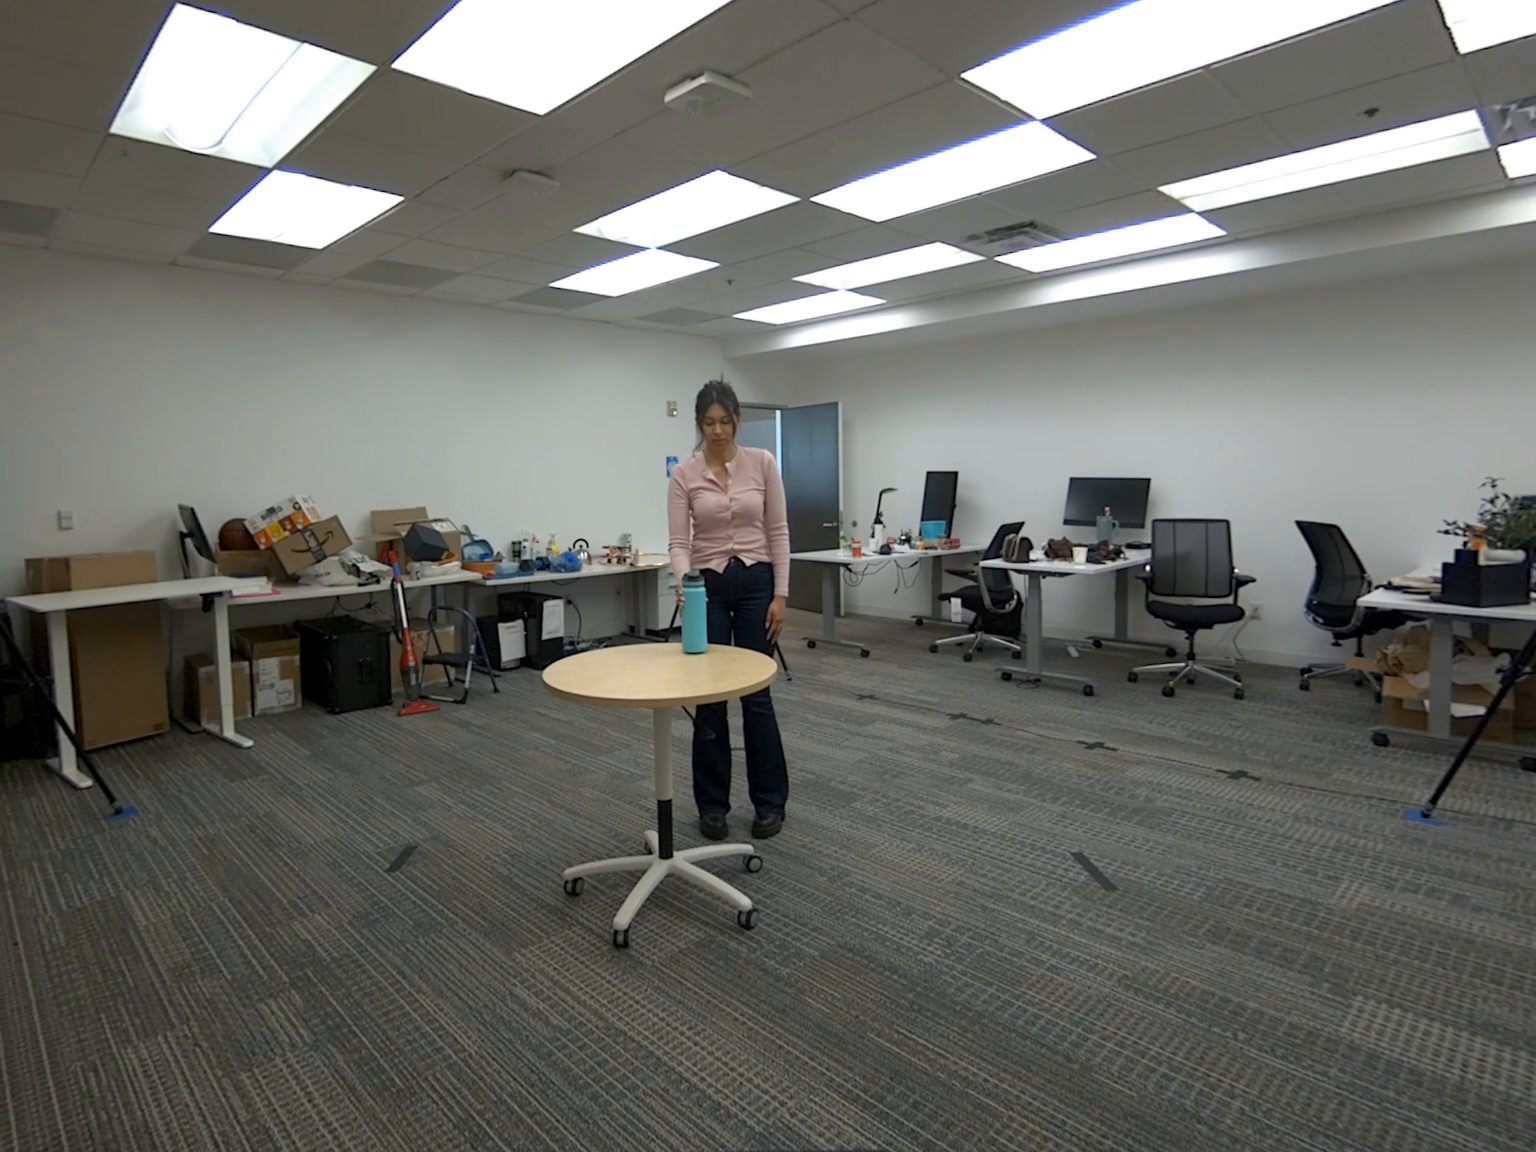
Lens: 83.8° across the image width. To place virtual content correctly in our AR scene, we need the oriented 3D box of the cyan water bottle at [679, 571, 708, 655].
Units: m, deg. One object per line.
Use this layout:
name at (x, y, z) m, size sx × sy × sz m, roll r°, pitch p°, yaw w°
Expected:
cyan water bottle at (-0.269, 0.126, 3.020) m, size 0.092 × 0.282 × 0.093 m, roll -2°, pitch 3°, yaw -2°
